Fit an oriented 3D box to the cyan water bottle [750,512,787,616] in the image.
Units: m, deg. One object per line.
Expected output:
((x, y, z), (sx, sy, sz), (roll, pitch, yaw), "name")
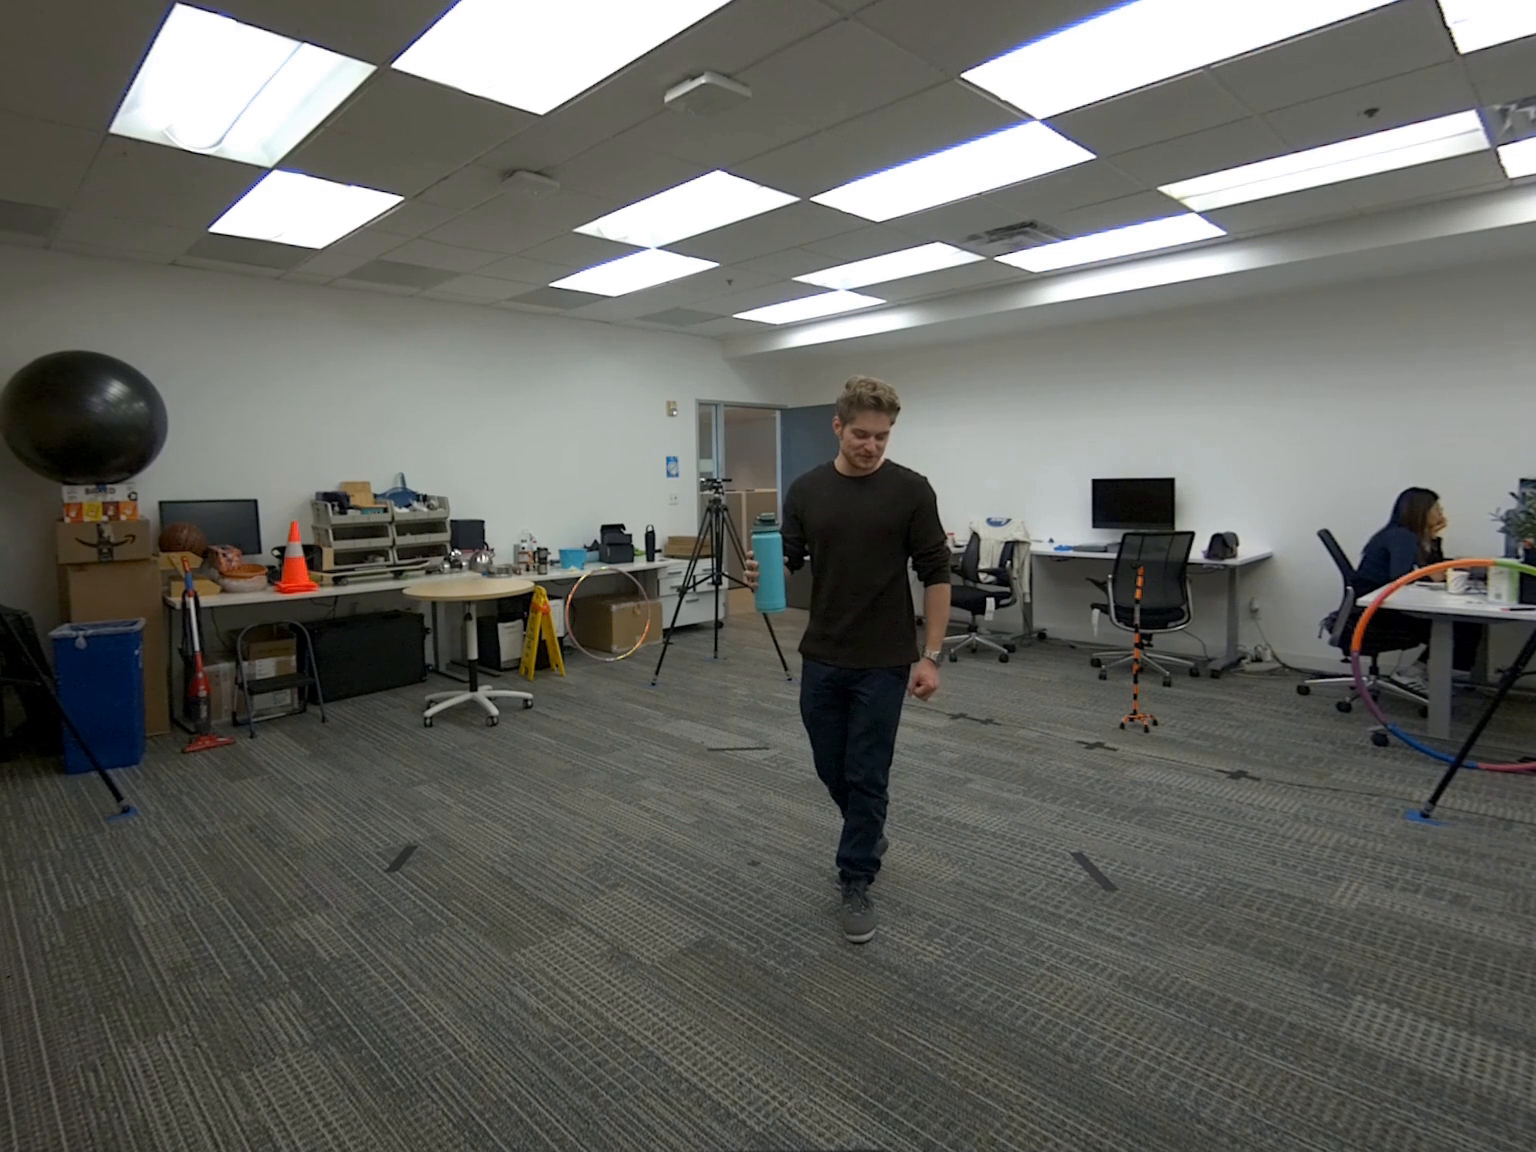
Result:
((0.004, -0.041, 2.480), (0.092, 0.283, 0.092), (-4, 1, -1), "cyan water bottle")
